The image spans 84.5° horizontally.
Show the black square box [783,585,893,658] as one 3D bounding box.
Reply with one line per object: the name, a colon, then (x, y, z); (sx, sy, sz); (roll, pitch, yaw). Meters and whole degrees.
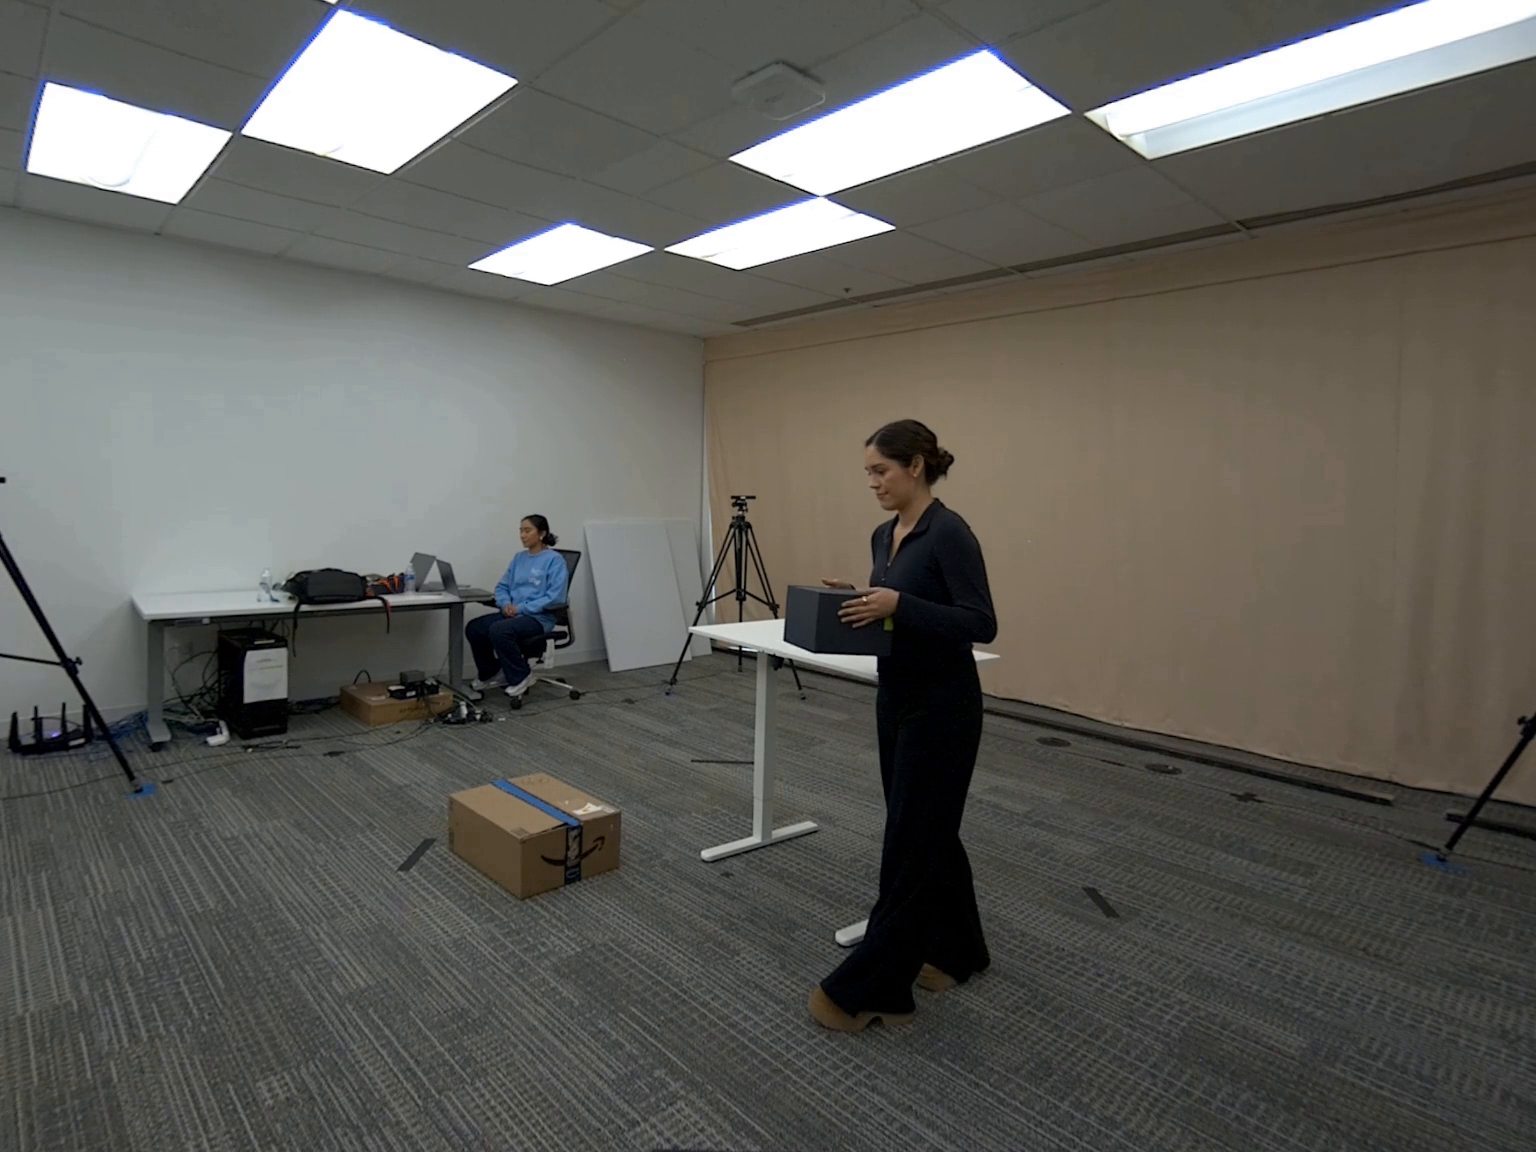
black square box: (0.185, 0.112, 2.238); (0.213, 0.156, 0.232); (4, 2, -20)
